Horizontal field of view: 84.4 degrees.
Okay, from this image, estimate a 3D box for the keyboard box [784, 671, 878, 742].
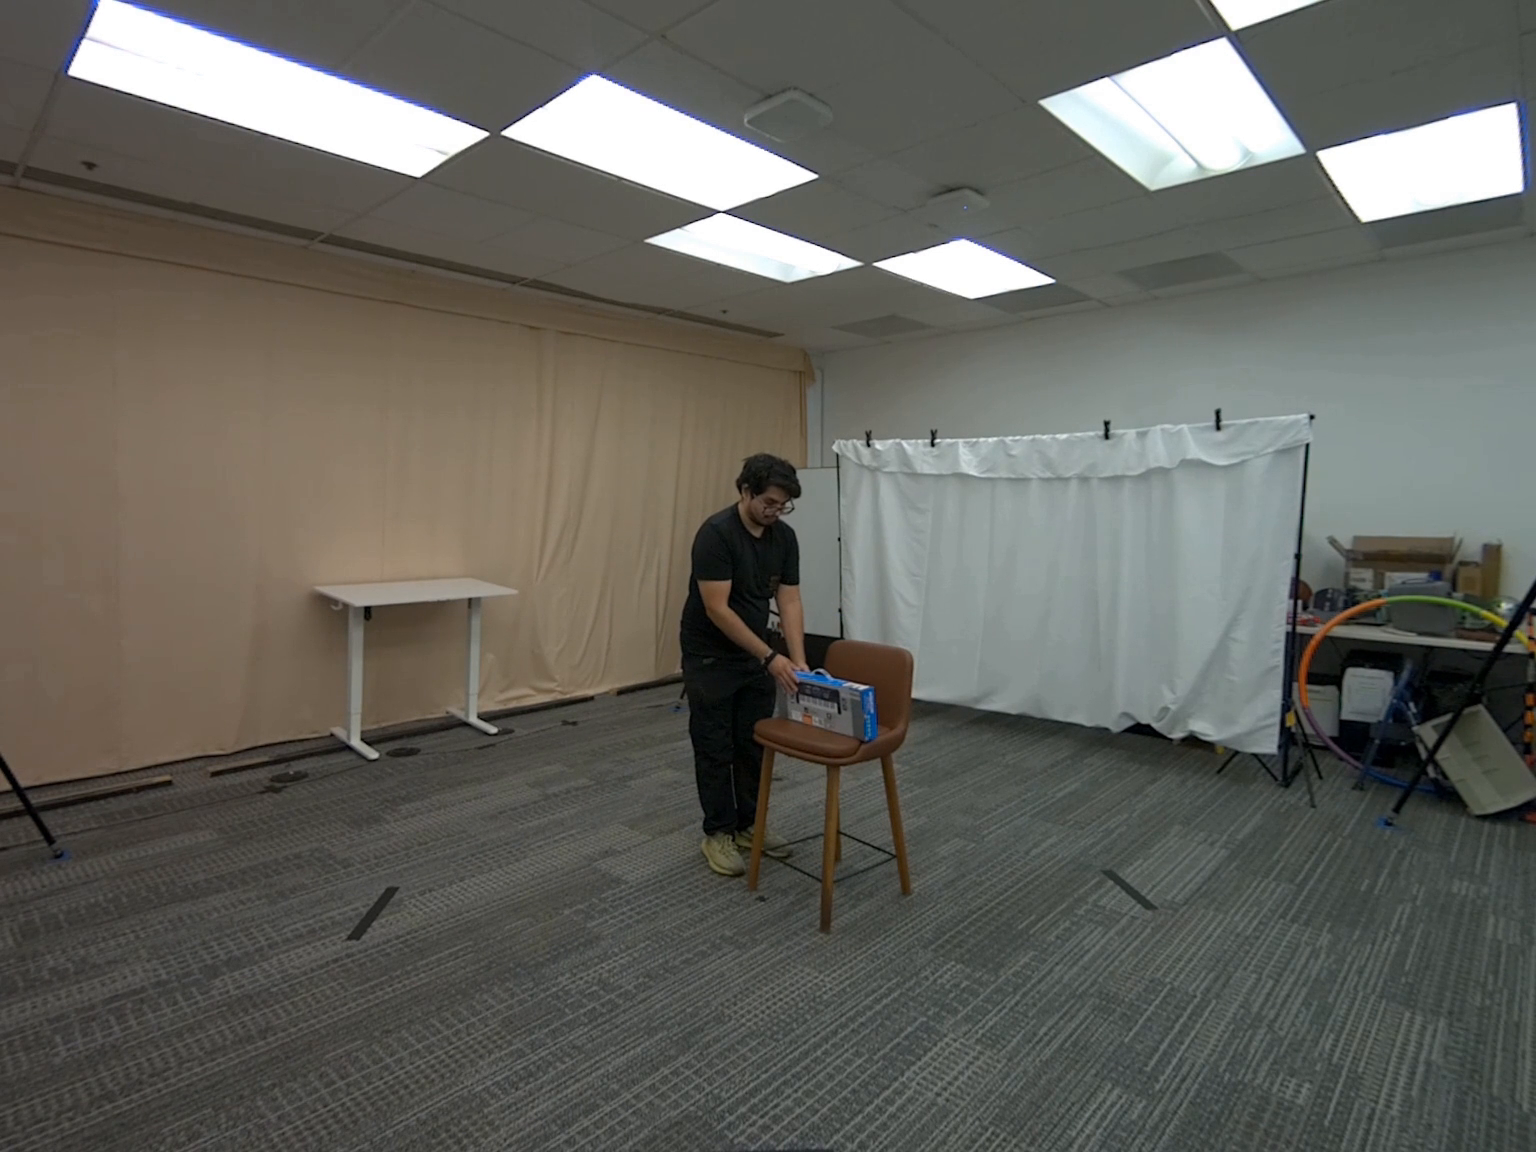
[{"bbox_3d":[0.198,0.444,2.950,0.057,0.175,0.451,-9,9,-39],"label":"keyboard box"}]
